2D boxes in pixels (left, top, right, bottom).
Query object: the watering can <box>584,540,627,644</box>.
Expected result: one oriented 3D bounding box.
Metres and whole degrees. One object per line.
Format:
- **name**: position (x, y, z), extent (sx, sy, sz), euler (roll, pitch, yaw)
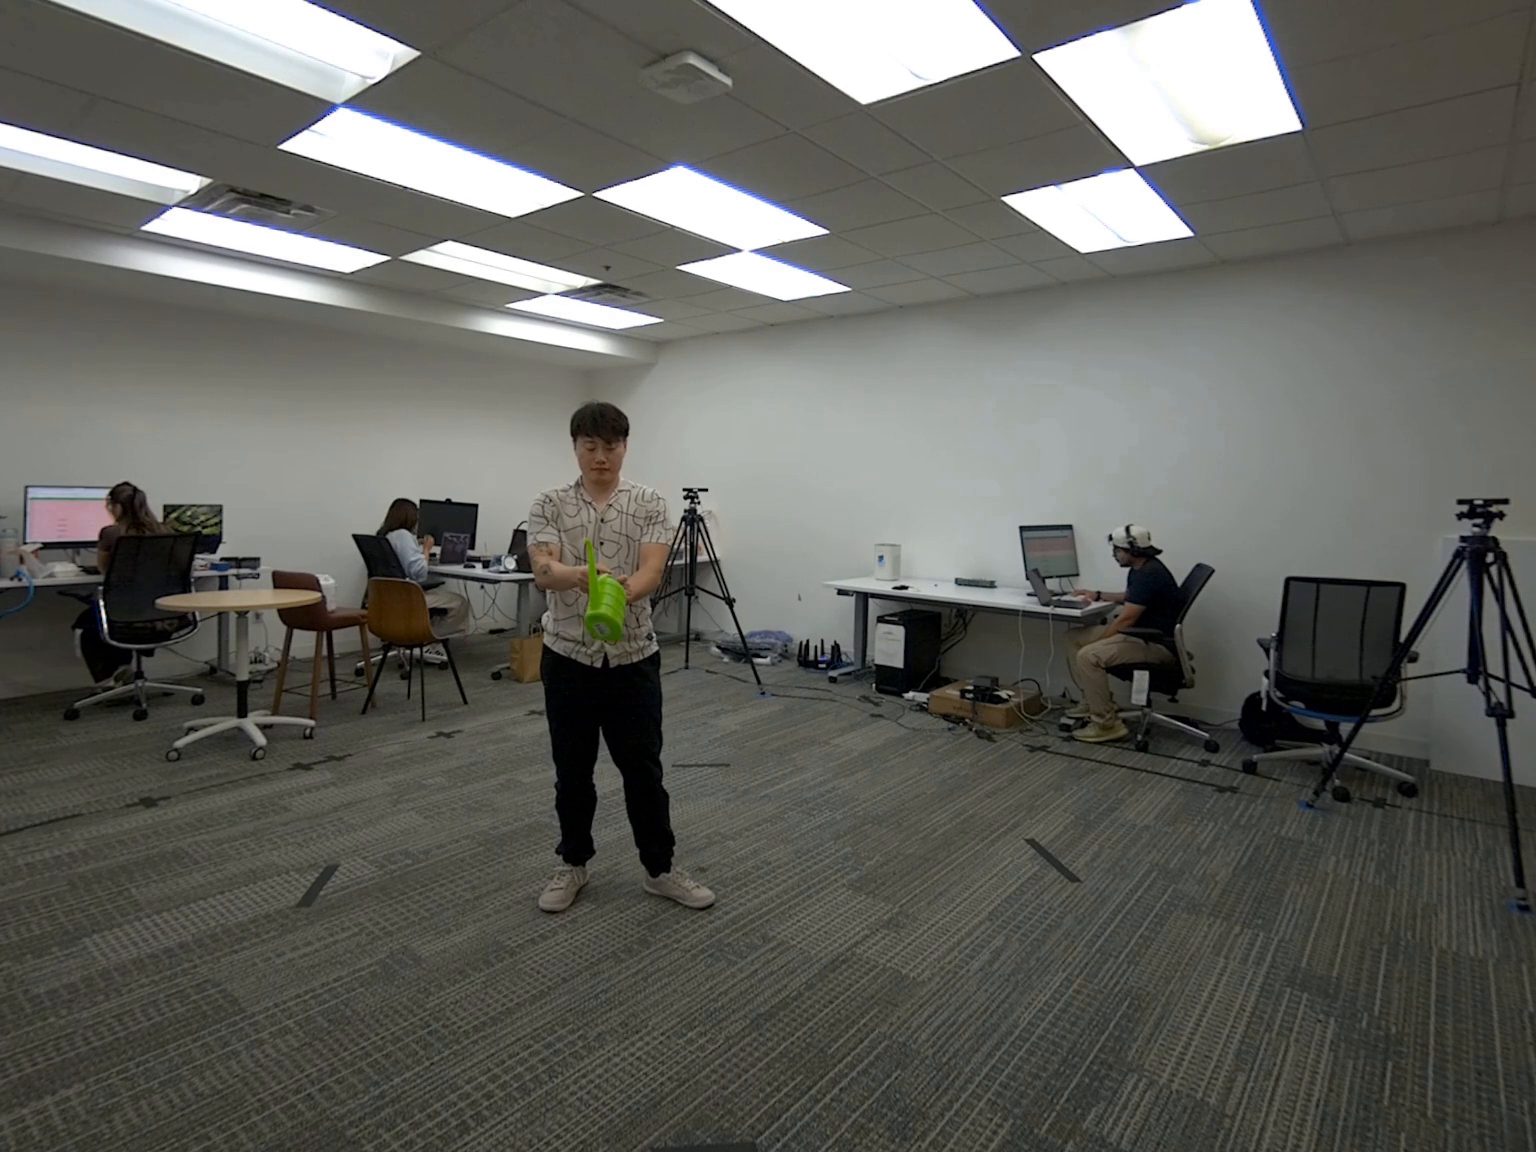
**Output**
- **watering can**: position (-0.481, 0.050, 2.358), extent (0.099, 0.181, 0.267), euler (-19, -50, 23)
